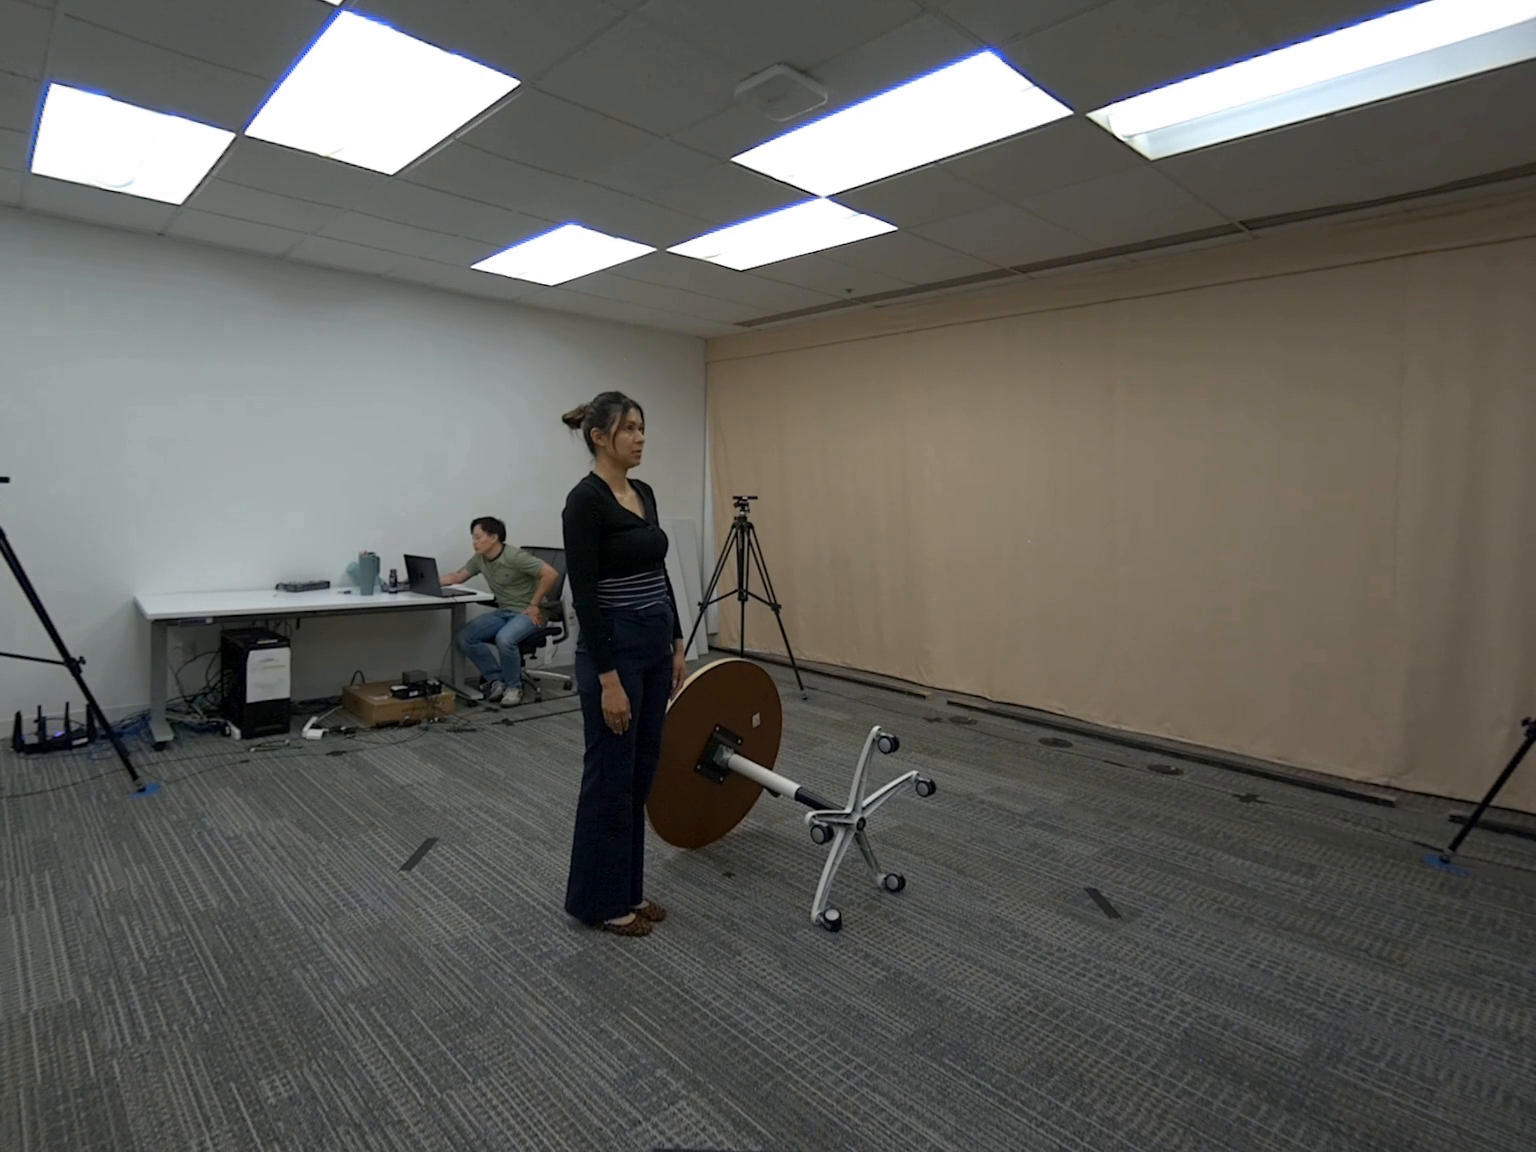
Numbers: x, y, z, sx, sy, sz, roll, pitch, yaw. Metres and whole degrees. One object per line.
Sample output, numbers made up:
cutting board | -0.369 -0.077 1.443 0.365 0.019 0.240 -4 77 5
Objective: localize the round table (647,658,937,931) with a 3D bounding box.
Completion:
round table | 0.074 0.784 3.066 0.817 0.759 0.747 15 12 41
